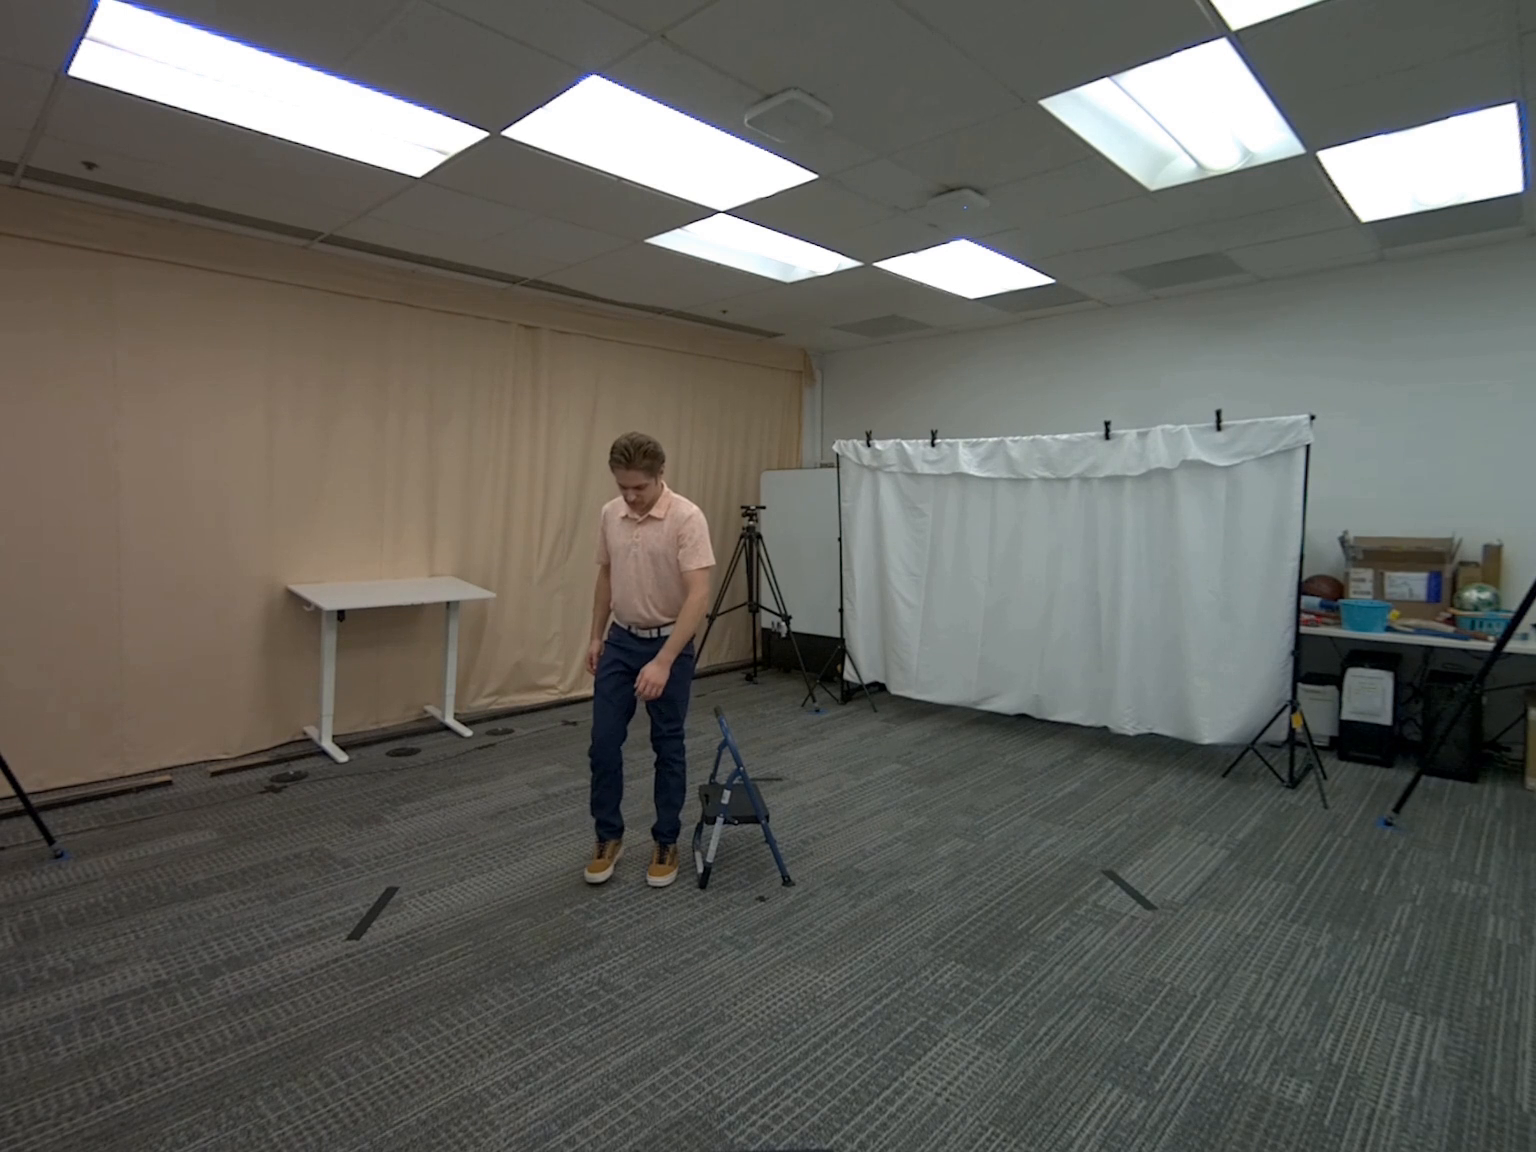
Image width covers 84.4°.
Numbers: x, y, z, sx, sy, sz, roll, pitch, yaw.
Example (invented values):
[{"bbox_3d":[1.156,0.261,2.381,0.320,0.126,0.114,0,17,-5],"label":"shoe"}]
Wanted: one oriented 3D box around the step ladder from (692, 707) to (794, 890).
[{"bbox_3d":[-0.108,0.828,3.259,0.346,0.605,0.435,1,3,-9],"label":"step ladder"}]
